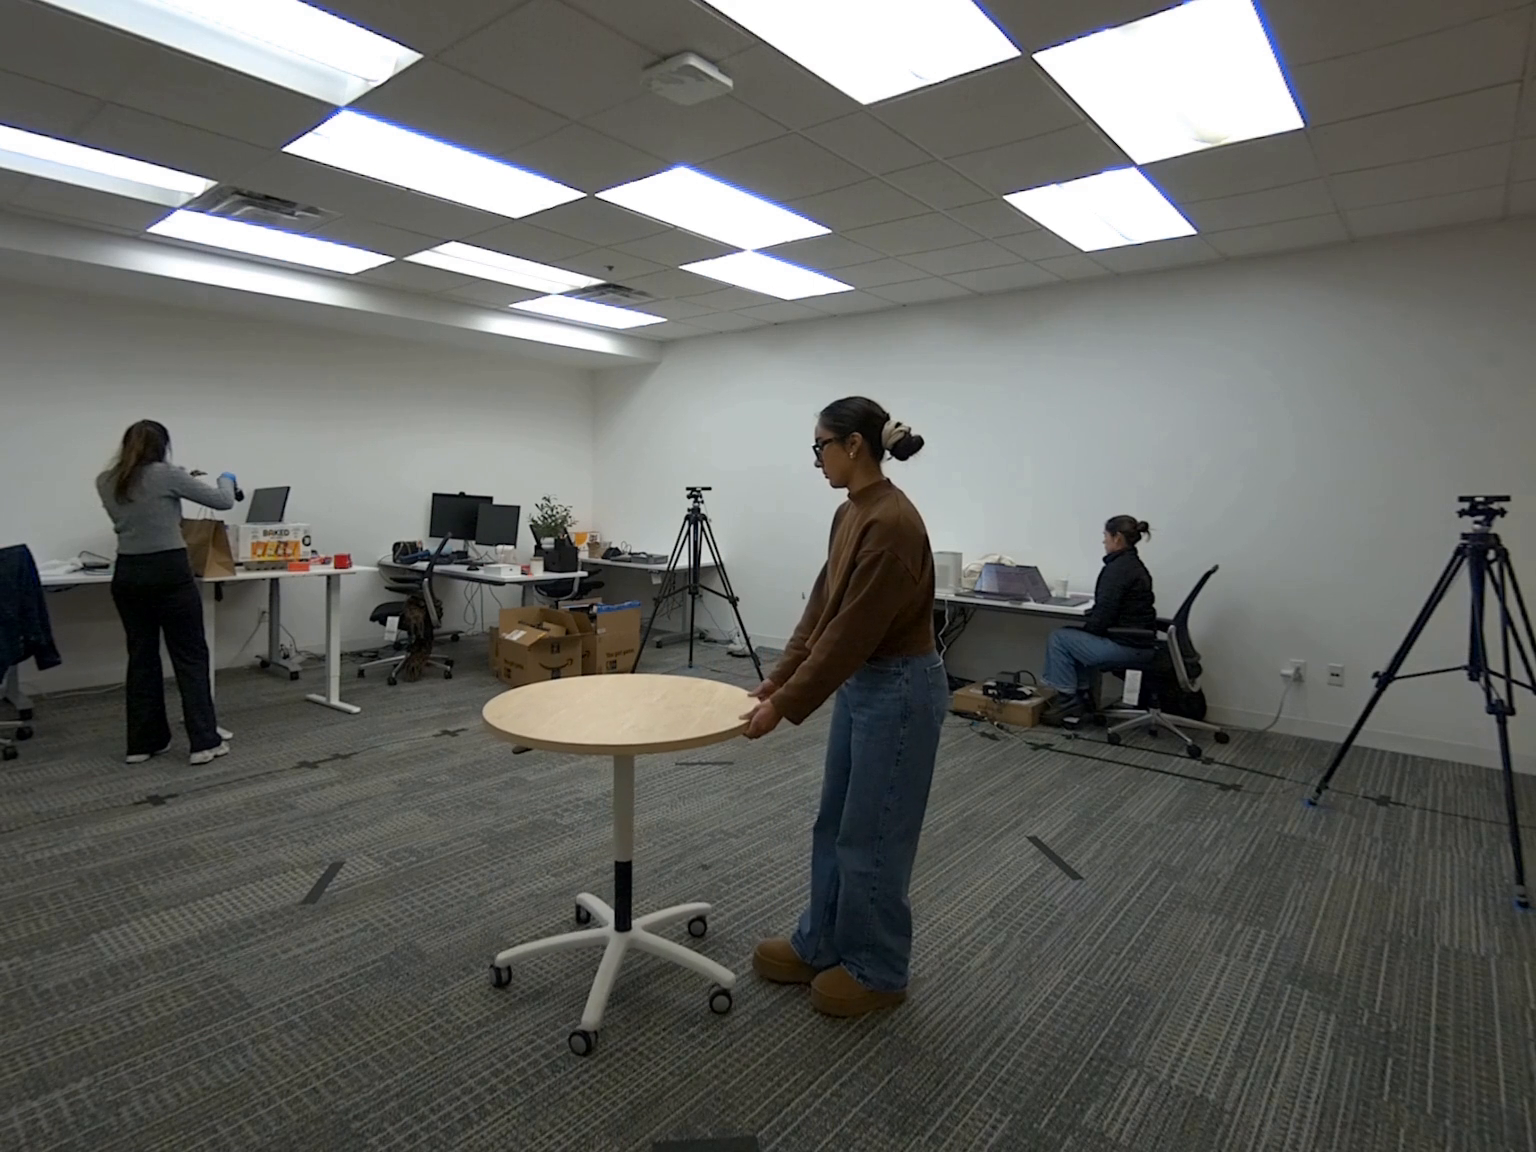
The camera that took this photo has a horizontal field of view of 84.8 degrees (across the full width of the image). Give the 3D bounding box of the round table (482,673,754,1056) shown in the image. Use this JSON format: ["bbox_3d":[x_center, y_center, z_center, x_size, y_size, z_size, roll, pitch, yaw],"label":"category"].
[{"bbox_3d":[-0.413,0.746,2.398,0.763,0.791,0.768,0,4,-2],"label":"round table"}]
